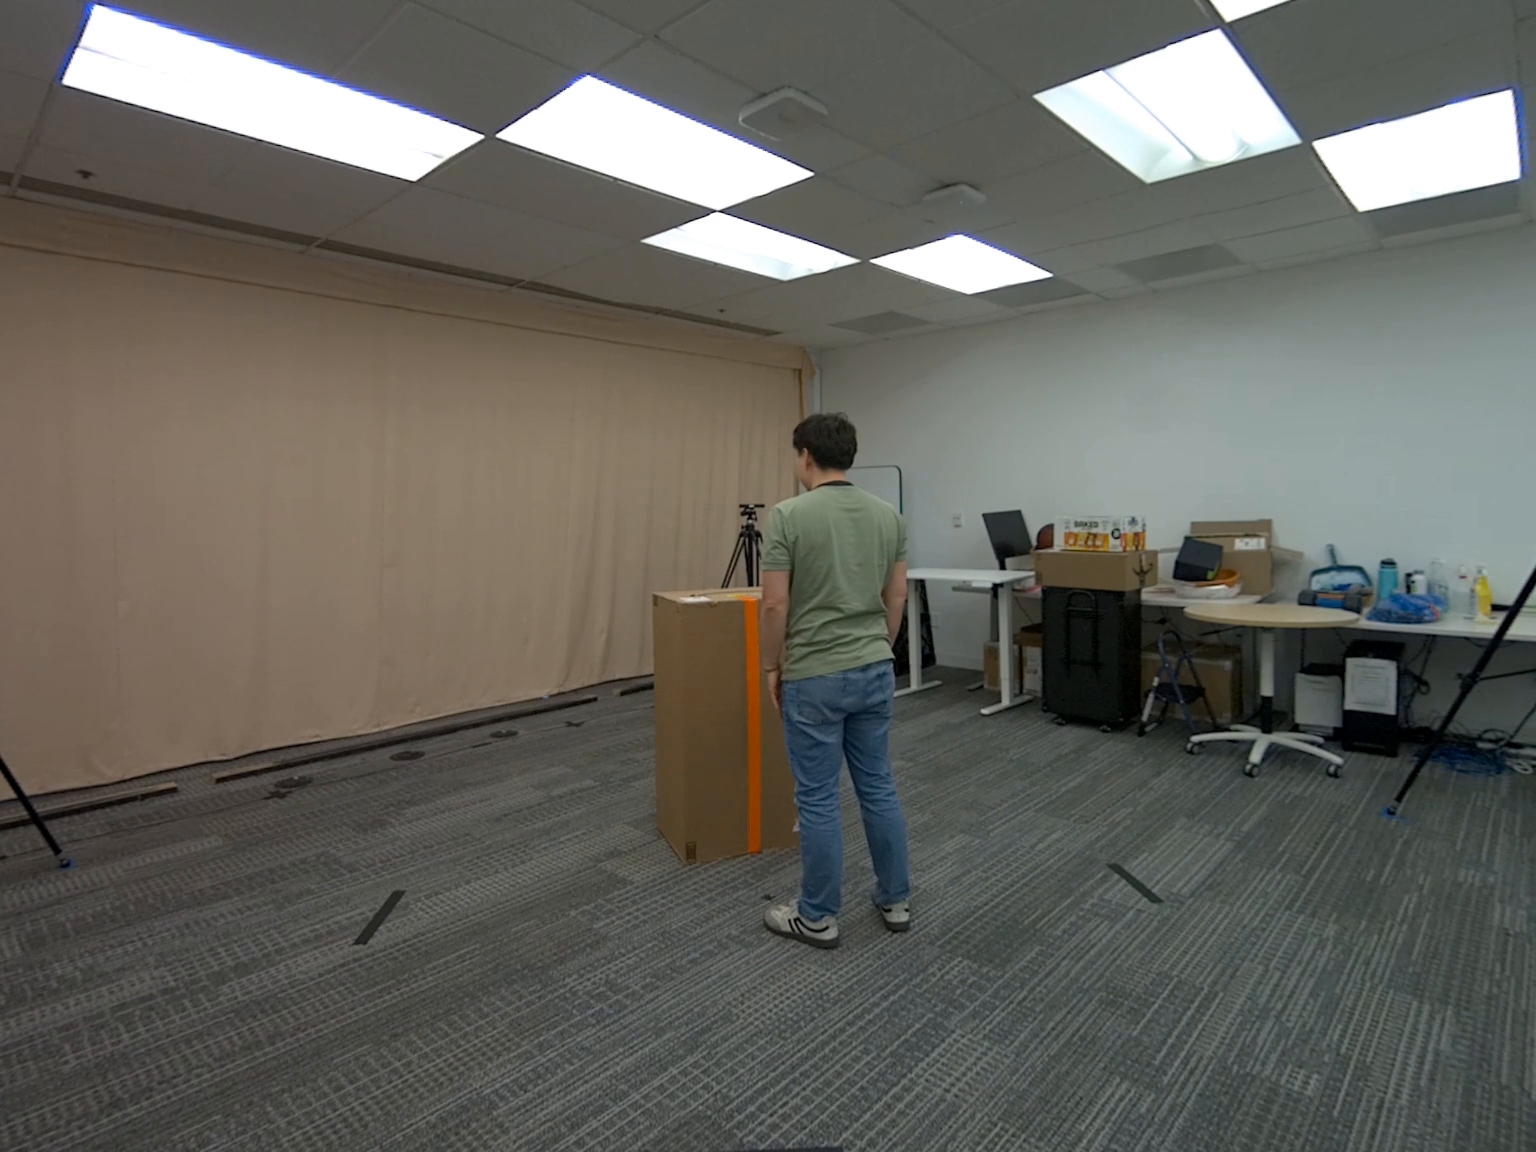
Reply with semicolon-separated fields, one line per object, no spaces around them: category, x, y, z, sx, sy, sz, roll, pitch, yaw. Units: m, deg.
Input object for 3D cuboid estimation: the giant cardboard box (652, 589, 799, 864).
giant cardboard box;-0.150;0.584;3.533;0.565;1.024;0.436;-2;3;-22
